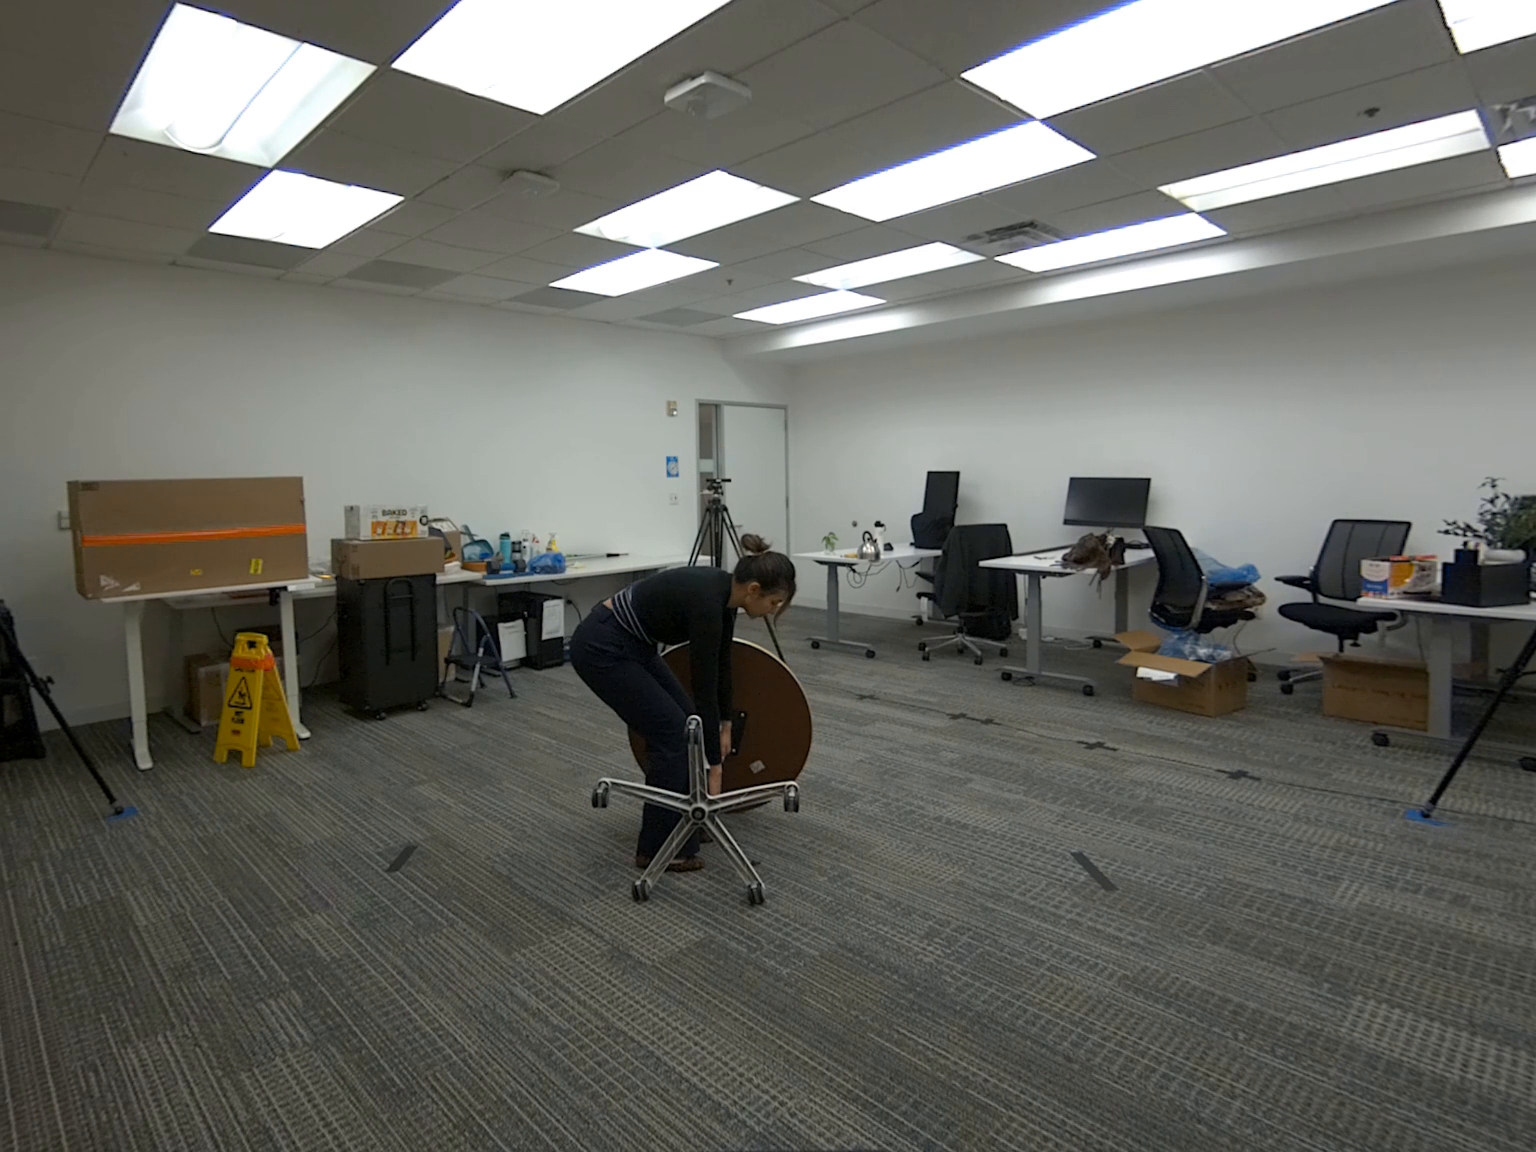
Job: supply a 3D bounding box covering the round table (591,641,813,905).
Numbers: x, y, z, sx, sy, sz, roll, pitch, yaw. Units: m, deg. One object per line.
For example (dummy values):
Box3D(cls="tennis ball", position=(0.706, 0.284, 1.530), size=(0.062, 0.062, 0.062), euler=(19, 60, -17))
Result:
Box3D(cls="round table", position=(-0.212, 0.716, 3.134), size=(0.768, 0.755, 0.800), euler=(-1, 13, 4))
